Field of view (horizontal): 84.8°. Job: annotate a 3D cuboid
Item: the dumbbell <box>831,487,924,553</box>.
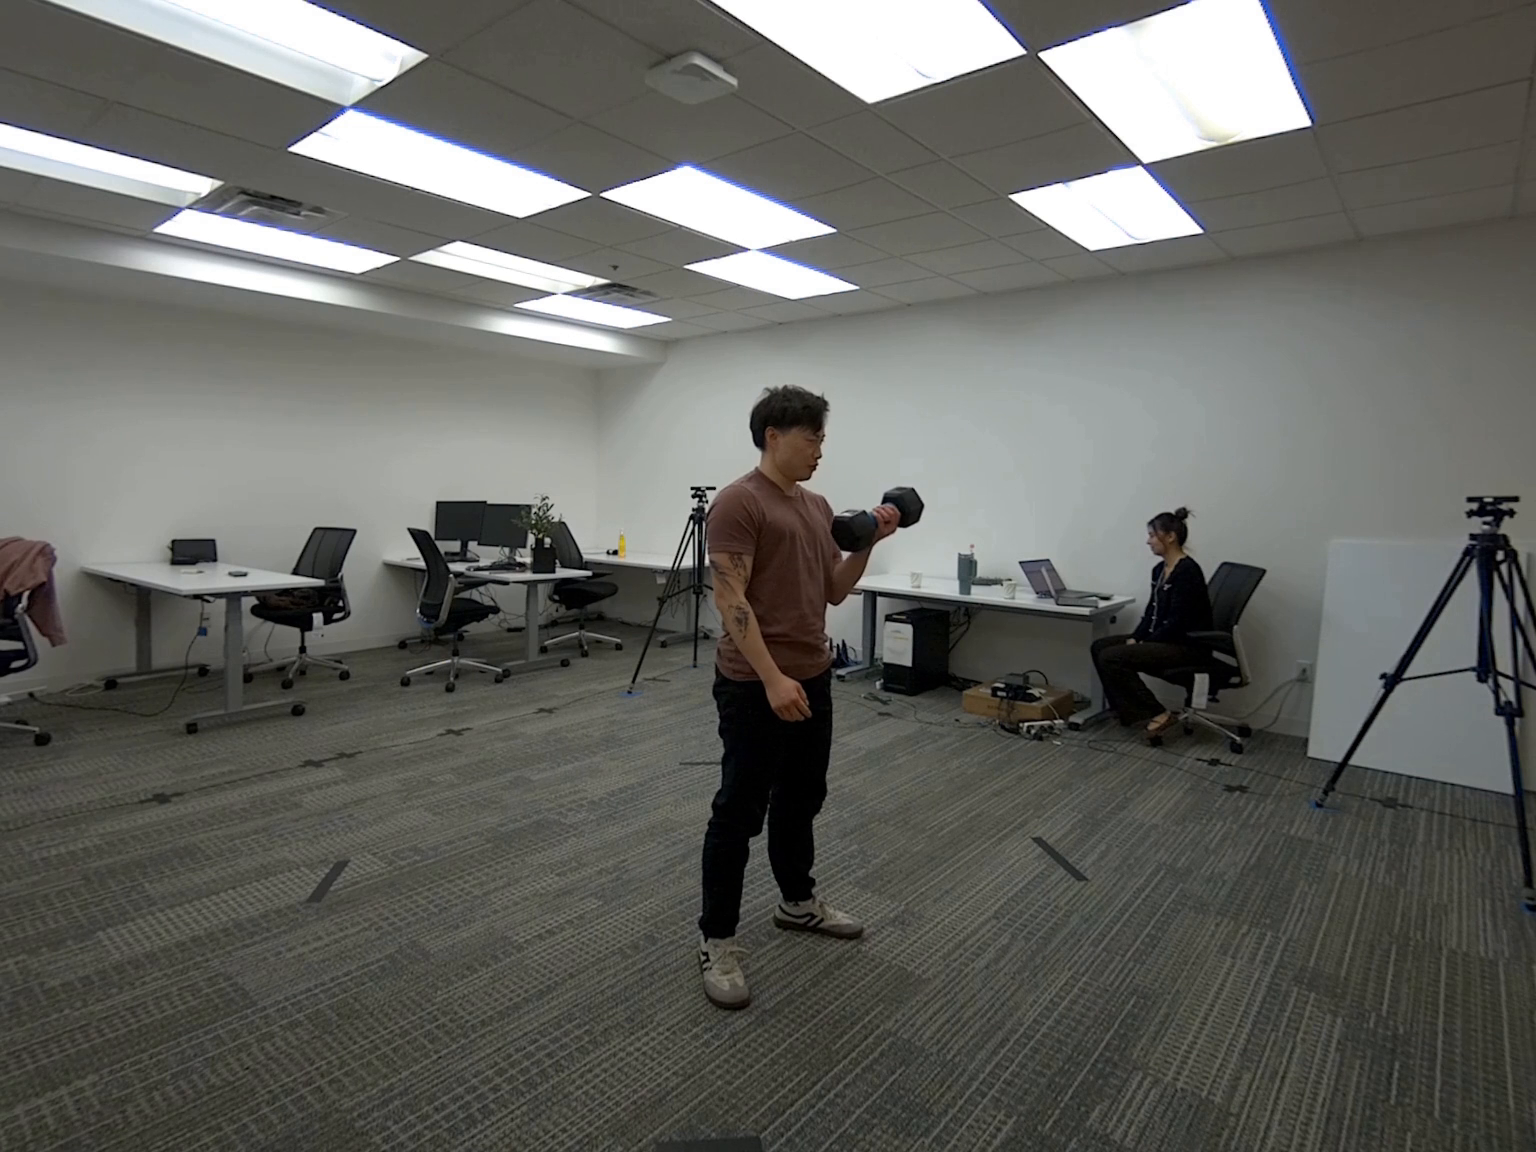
[{"bbox_3d":[0.308,-0.157,2.428,0.289,0.106,0.127,-27,22,-34],"label":"dumbbell"}]
